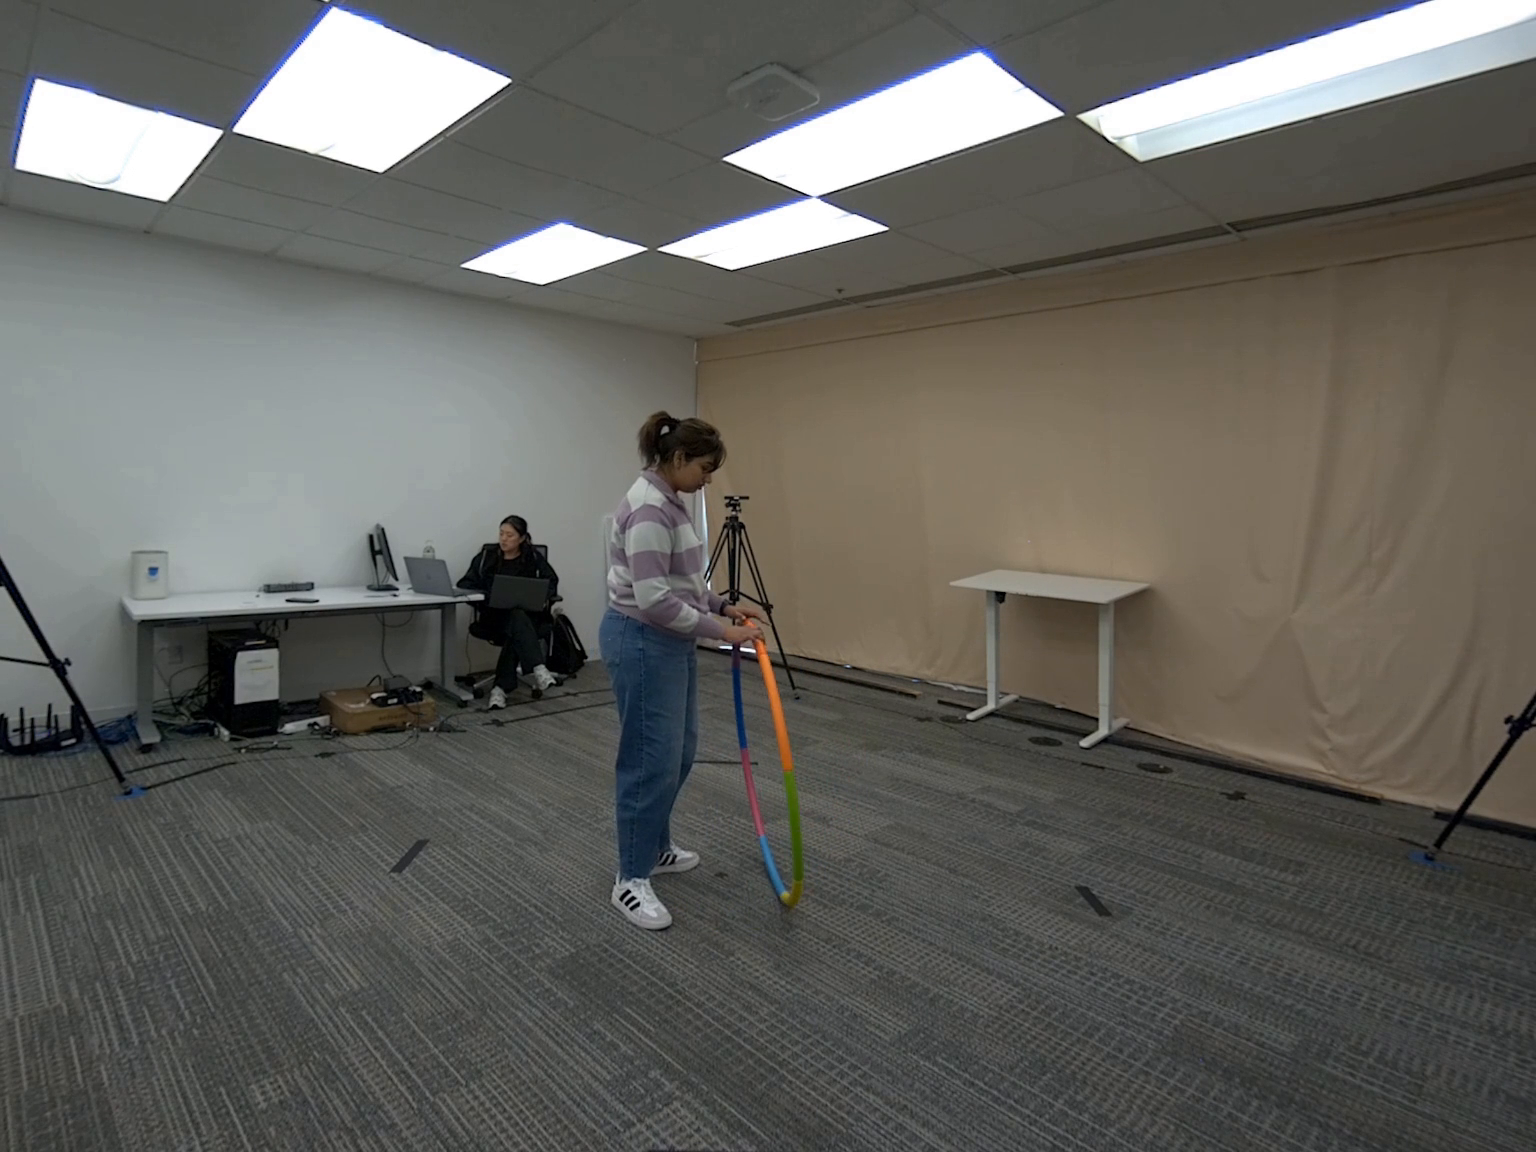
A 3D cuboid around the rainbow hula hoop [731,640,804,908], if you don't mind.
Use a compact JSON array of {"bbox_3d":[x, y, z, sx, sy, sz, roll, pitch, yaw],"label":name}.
[{"bbox_3d":[-0.022,0.645,2.953,0.051,0.981,0.995,-8,5,-9],"label":"rainbow hula hoop"}]
